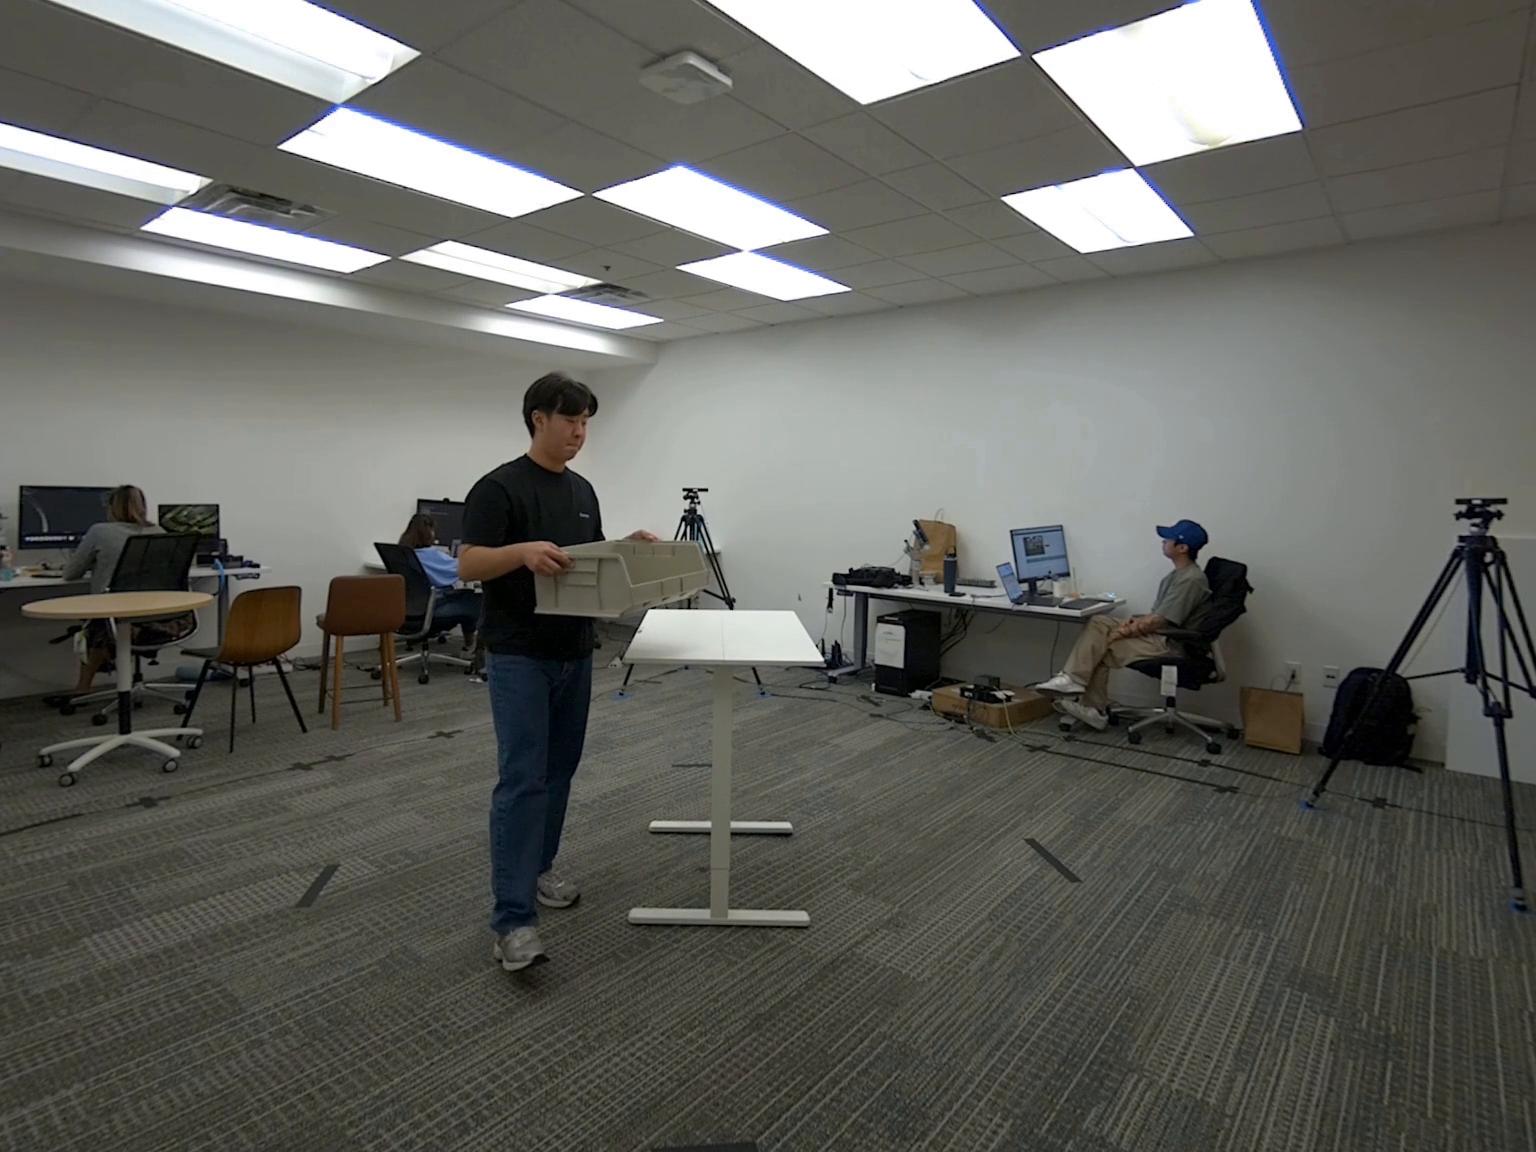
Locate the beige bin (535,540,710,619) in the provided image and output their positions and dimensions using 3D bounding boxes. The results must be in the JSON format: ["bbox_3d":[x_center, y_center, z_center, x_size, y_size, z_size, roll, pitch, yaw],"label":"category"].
[{"bbox_3d":[-0.447,0.005,2.584,0.388,0.188,0.413,0,7,29],"label":"beige bin"}]
